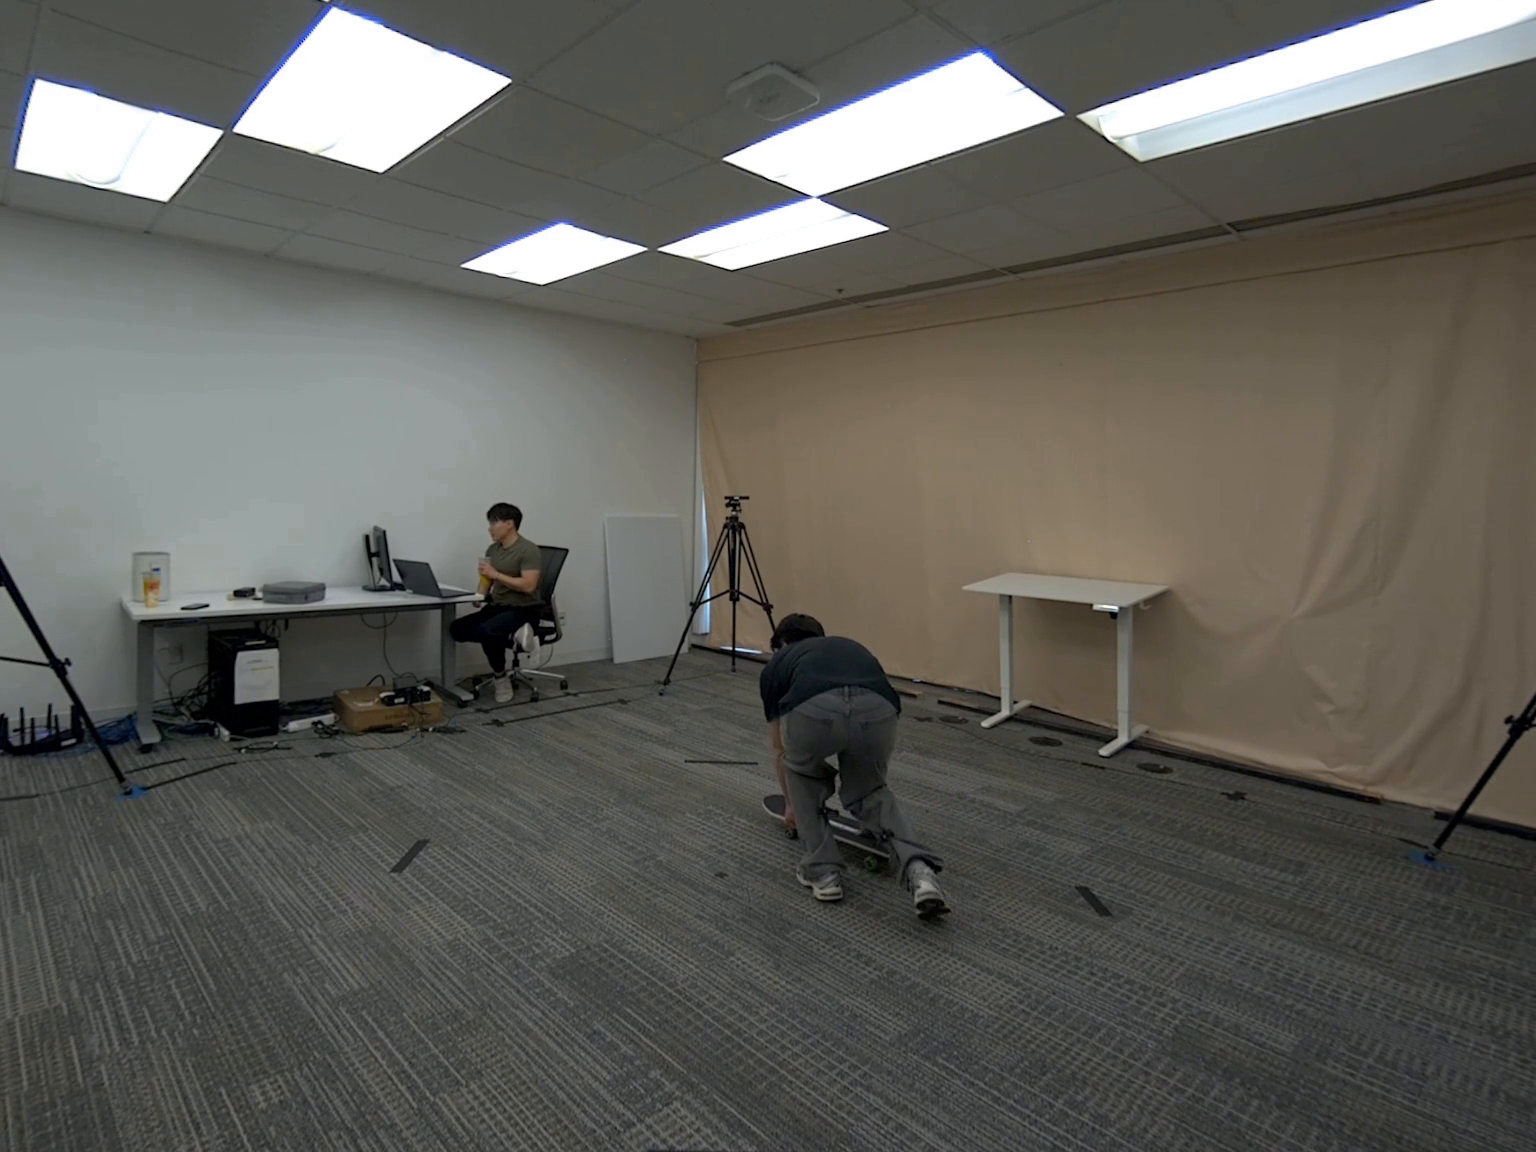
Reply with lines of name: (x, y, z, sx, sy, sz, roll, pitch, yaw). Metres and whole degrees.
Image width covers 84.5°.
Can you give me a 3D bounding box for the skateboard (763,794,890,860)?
skateboard: (0.282, 1.034, 3.370, 0.806, 0.110, 0.189, 6, 5, 44)
